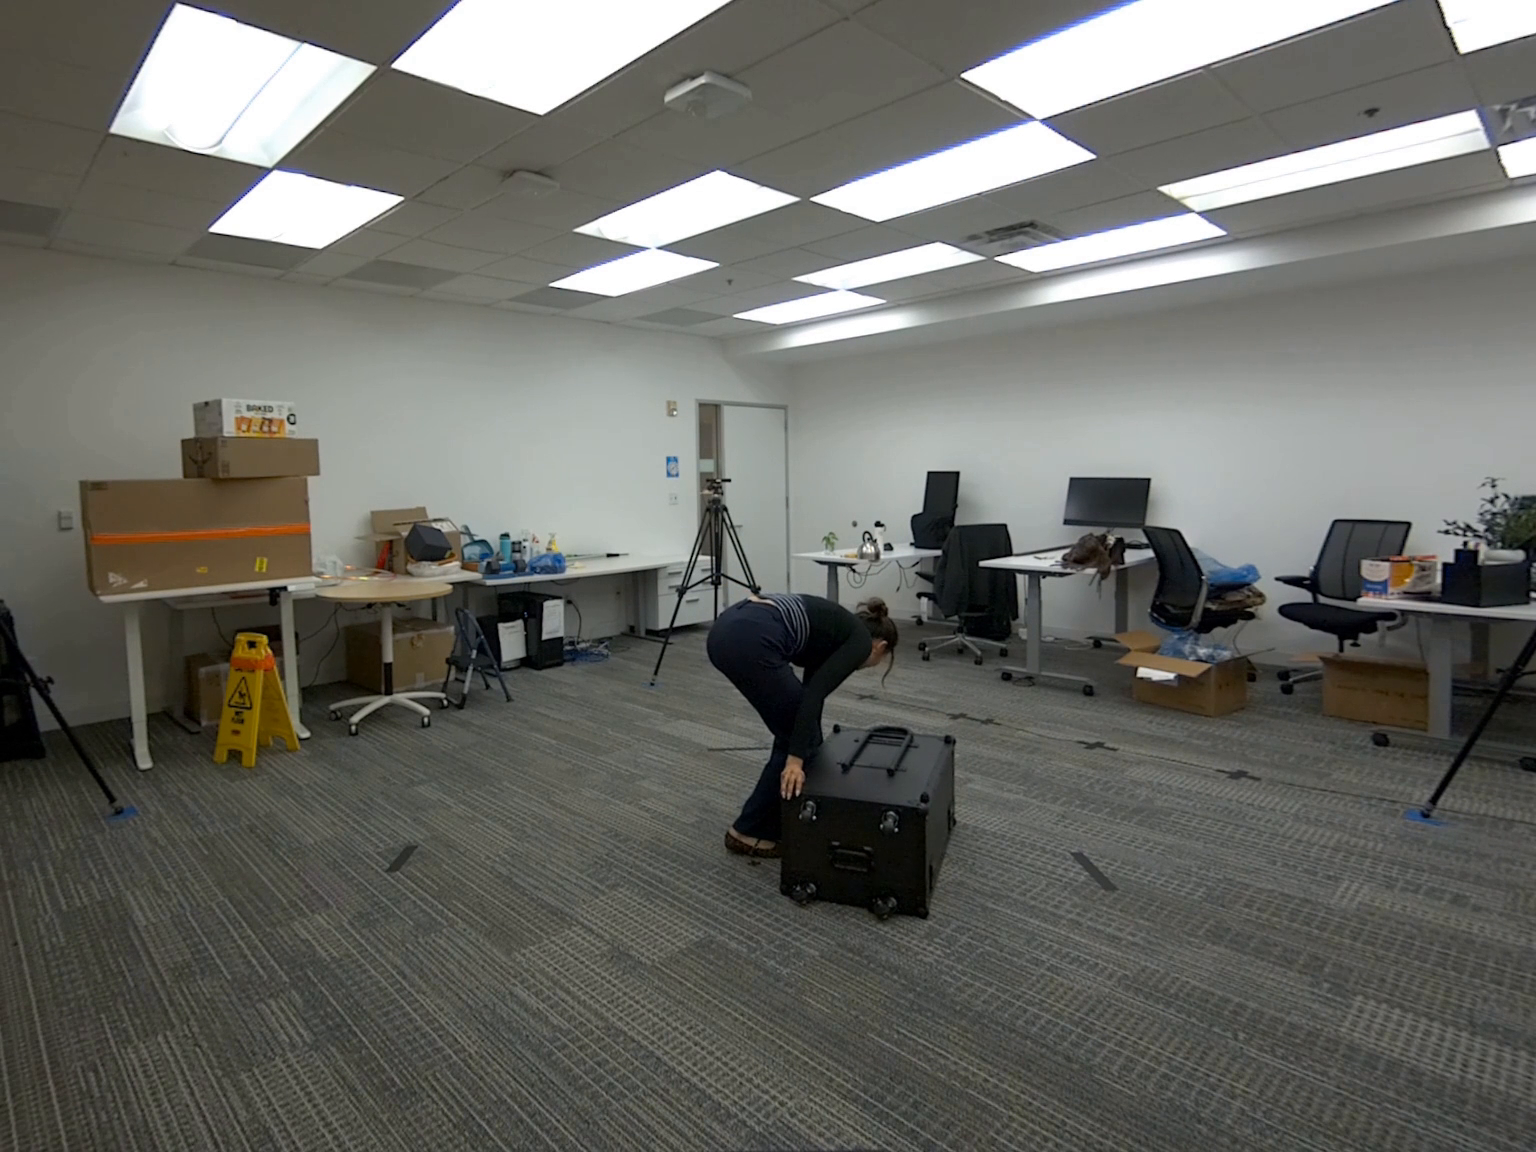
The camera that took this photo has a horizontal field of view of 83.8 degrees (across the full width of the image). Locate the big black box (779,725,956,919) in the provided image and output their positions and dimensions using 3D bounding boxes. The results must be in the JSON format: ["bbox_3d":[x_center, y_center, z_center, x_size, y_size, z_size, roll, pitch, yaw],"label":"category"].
[{"bbox_3d":[0.386,0.839,3.085,0.531,0.394,0.850,1,8,19],"label":"big black box"}]
